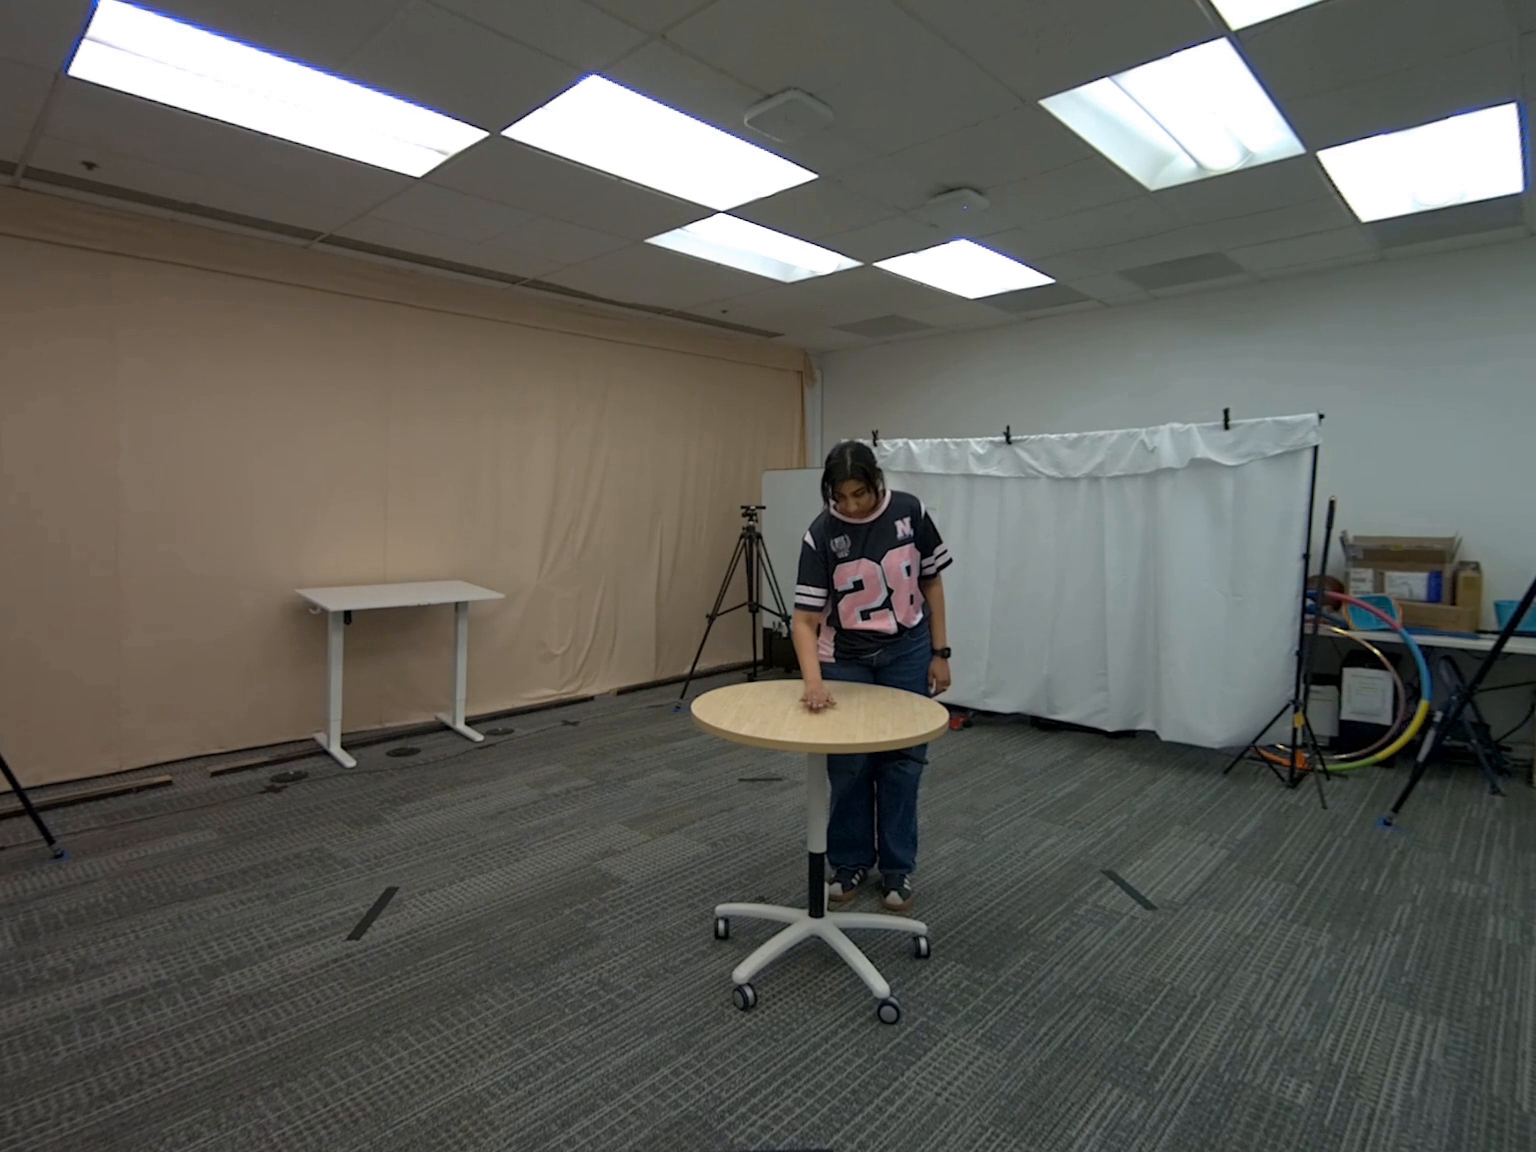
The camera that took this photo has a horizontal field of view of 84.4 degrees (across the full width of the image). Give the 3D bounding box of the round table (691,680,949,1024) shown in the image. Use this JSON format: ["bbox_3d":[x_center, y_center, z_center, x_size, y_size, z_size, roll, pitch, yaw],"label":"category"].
[{"bbox_3d":[0.162,0.789,2.552,0.784,0.785,0.788,0,4,-2],"label":"round table"}]
